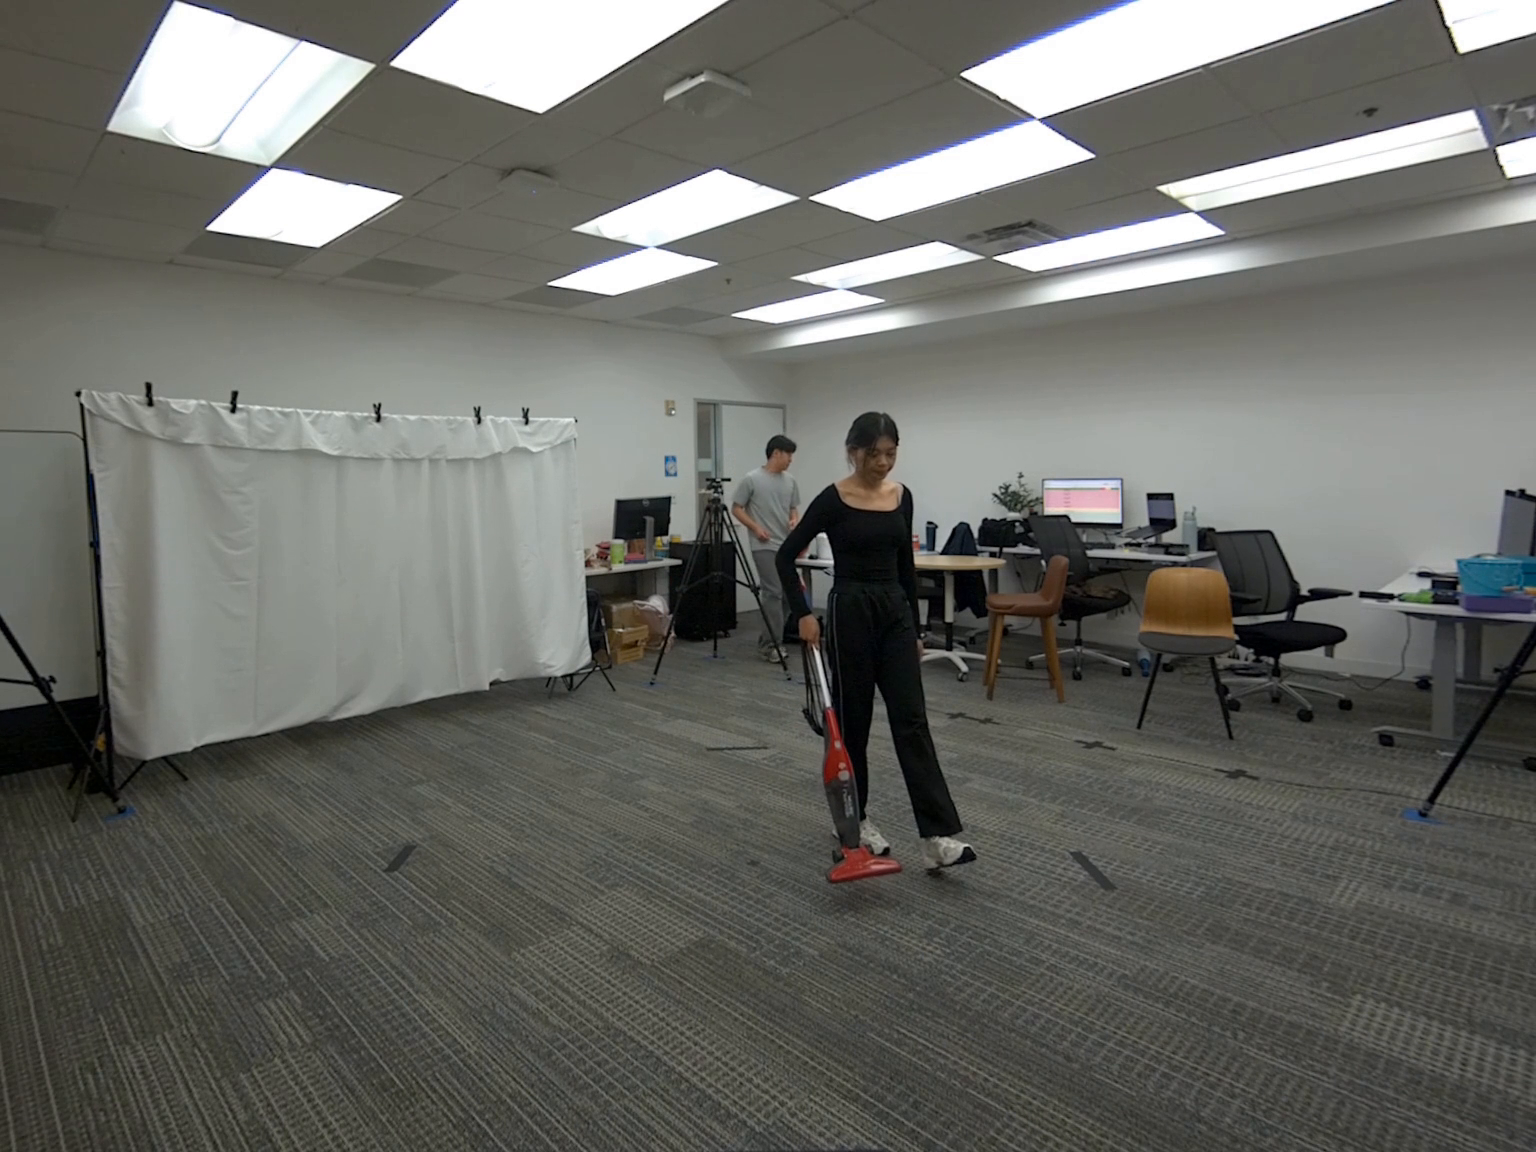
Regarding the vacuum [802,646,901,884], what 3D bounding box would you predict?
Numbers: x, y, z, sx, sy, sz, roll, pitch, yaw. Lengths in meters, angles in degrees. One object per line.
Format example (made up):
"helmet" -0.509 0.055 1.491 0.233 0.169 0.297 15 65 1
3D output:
"vacuum" 0.205 0.487 3.020 0.250 1.075 0.142 -7 -24 -10
